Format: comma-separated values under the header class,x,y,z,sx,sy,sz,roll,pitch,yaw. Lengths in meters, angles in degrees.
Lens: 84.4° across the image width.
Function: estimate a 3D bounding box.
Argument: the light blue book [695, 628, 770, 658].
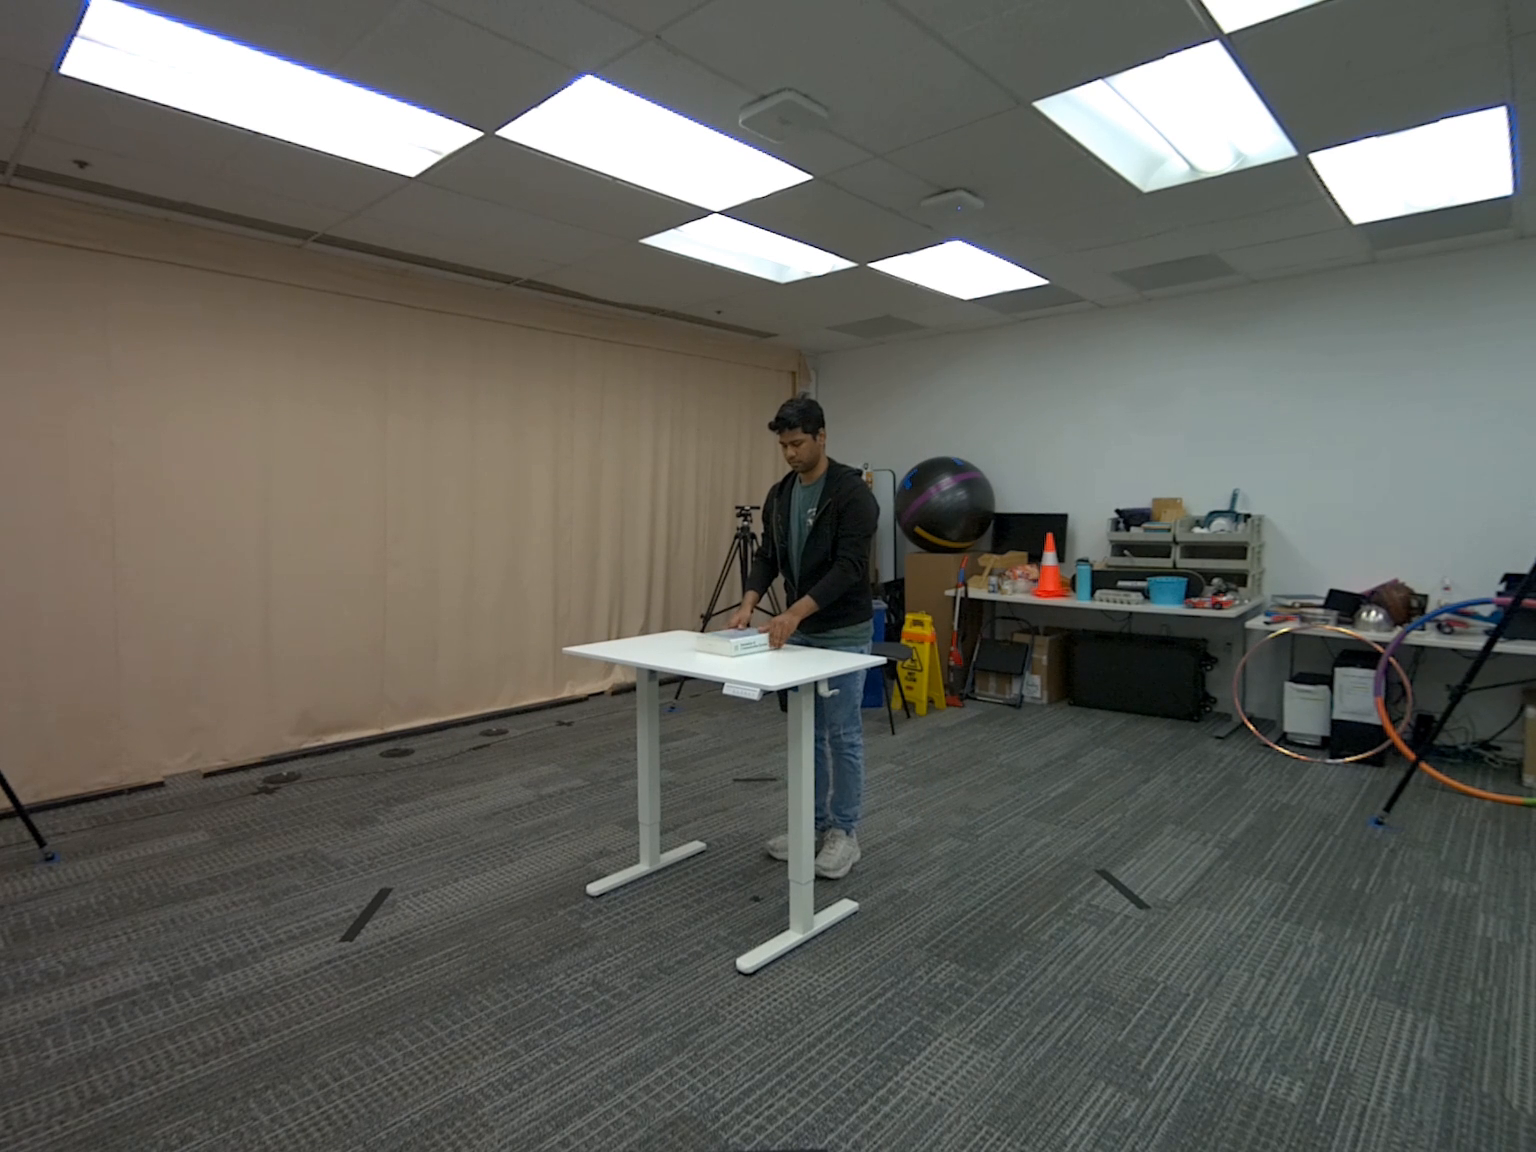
class,x,y,z,sx,sy,sz,roll,pitch,yaw
light blue book,-0.110,0.233,2.999,0.198,0.059,0.253,5,7,43
